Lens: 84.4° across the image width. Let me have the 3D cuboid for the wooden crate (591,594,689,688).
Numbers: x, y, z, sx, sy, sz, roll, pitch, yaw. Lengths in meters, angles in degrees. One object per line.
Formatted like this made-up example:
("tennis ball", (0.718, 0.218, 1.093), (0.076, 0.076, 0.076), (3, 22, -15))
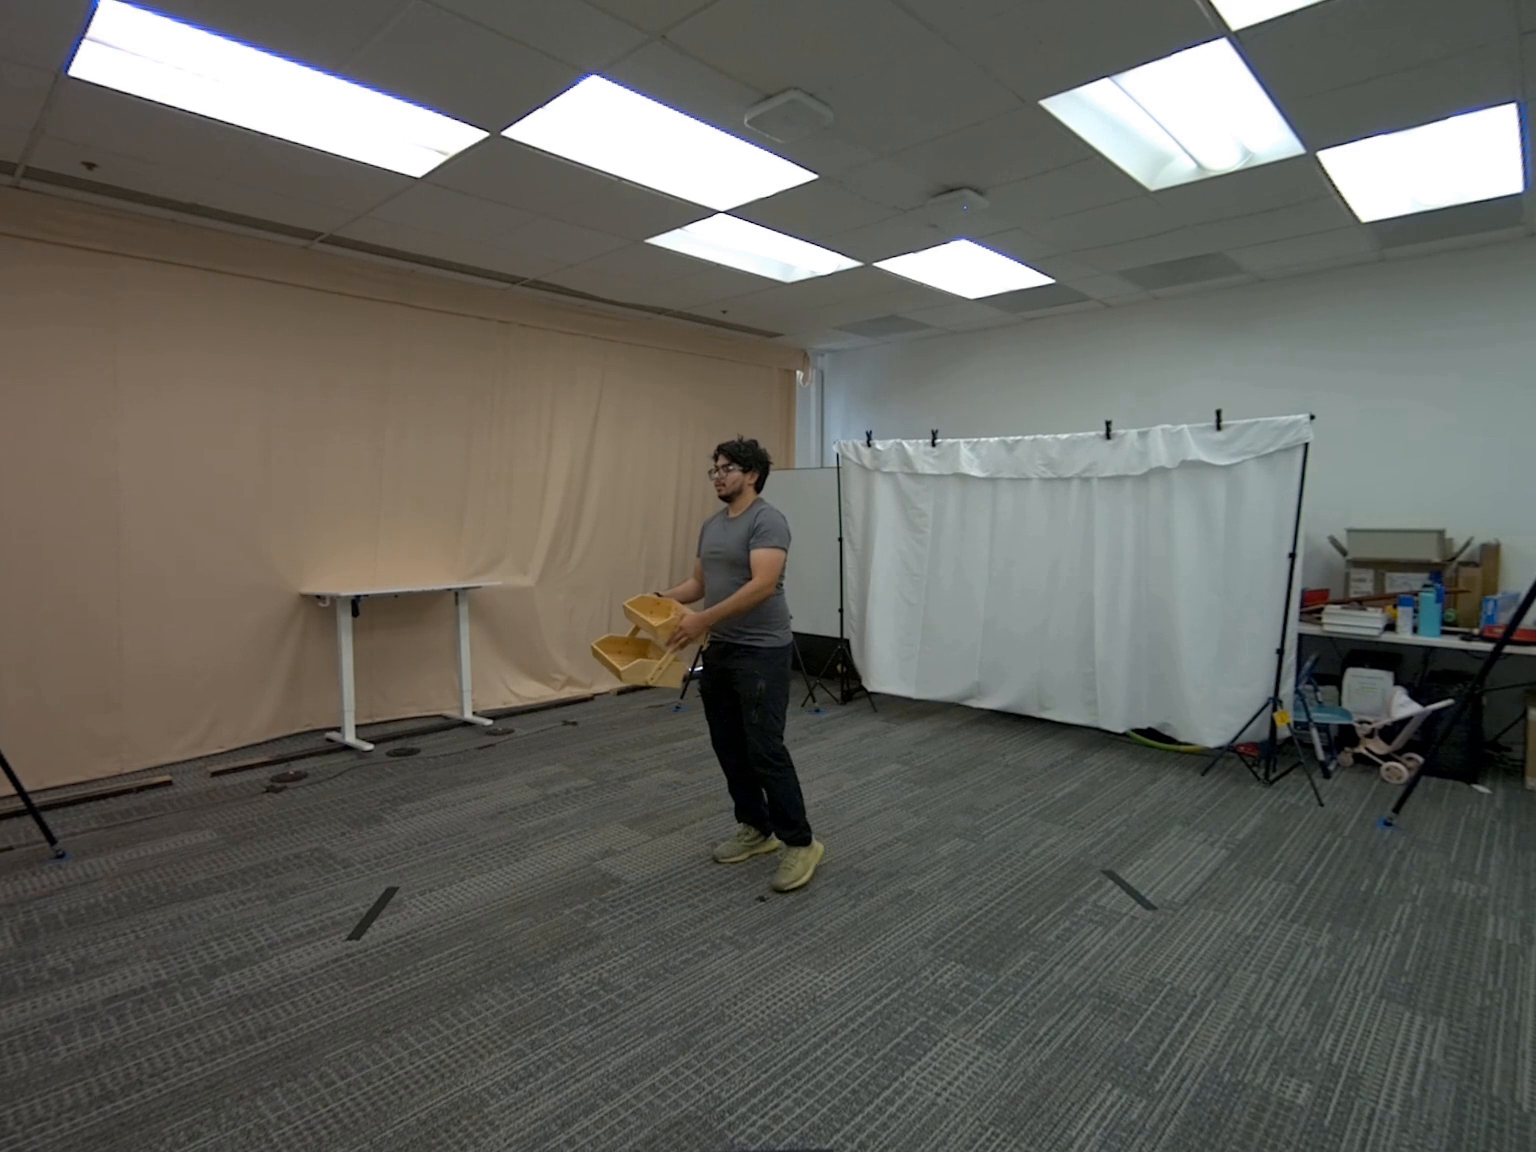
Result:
("wooden crate", (-0.440, 0.232, 3.116), (0.292, 0.273, 0.335), (11, 8, -33))
